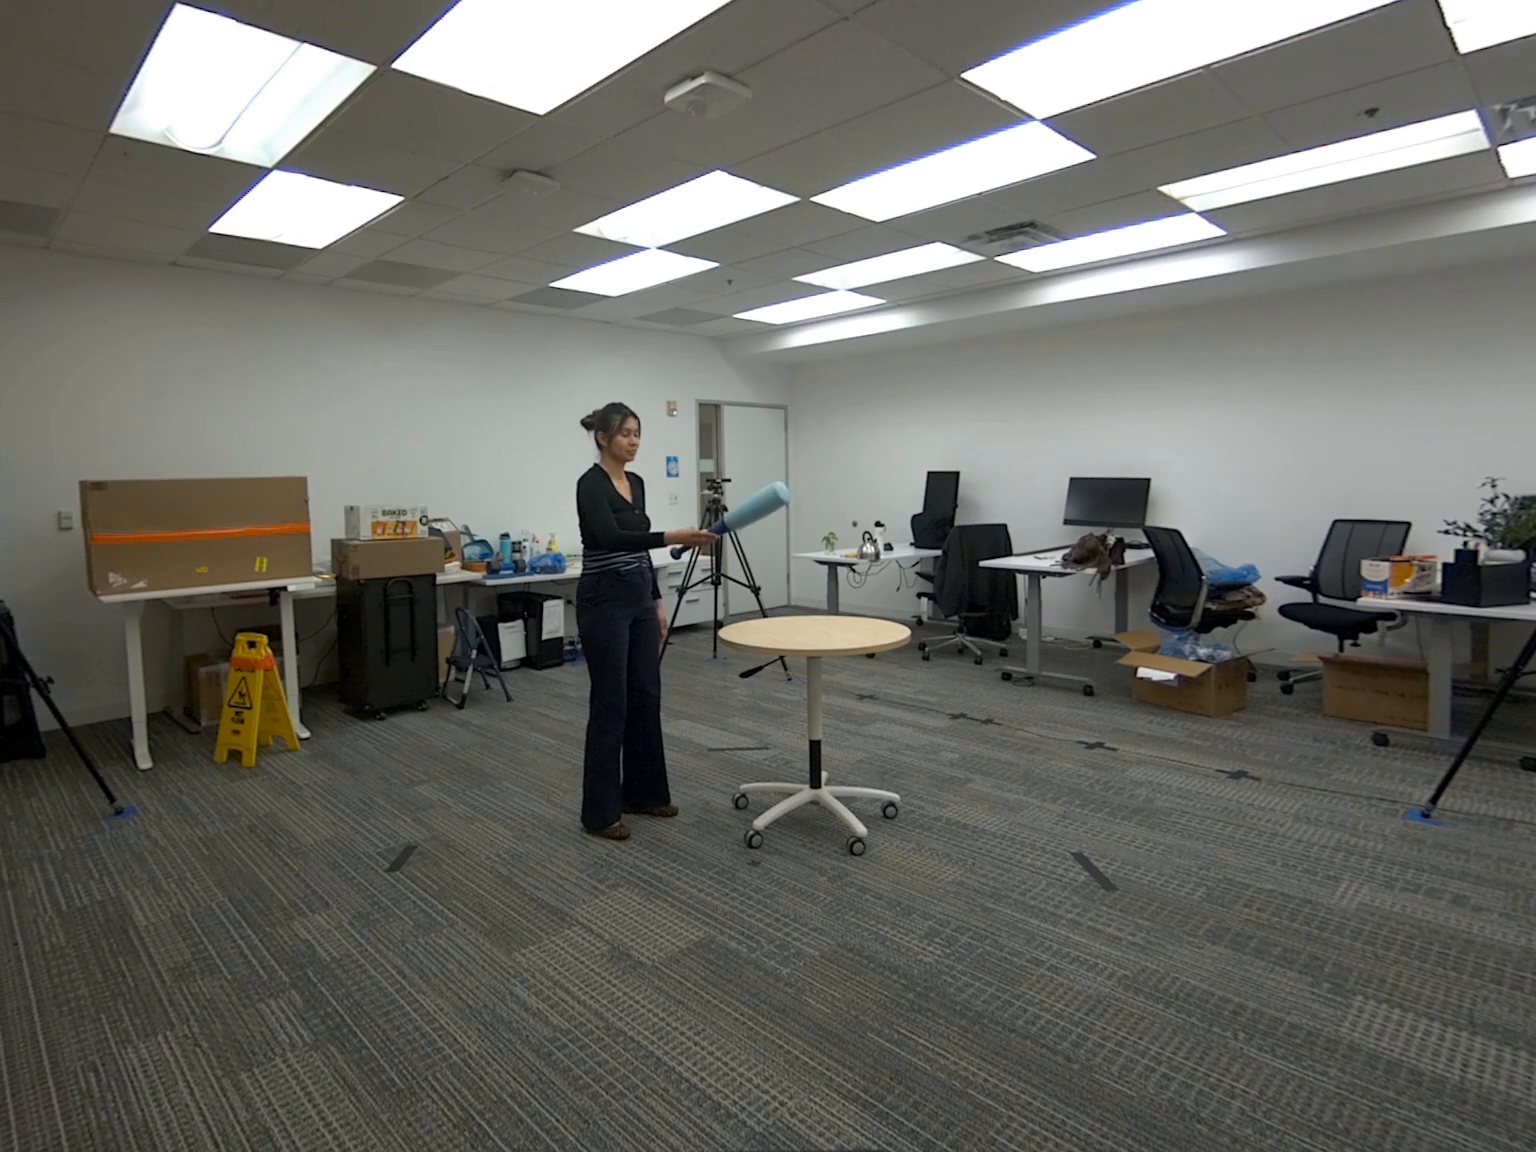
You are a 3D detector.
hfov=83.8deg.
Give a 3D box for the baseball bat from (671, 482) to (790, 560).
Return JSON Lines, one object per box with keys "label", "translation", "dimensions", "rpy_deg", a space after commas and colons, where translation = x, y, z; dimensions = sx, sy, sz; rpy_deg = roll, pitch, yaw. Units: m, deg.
{"label": "baseball bat", "translation": [-0.147, -0.173, 3.037], "dimensions": [0.549, 0.090, 0.087], "rpy_deg": [-27, -11, 33]}
